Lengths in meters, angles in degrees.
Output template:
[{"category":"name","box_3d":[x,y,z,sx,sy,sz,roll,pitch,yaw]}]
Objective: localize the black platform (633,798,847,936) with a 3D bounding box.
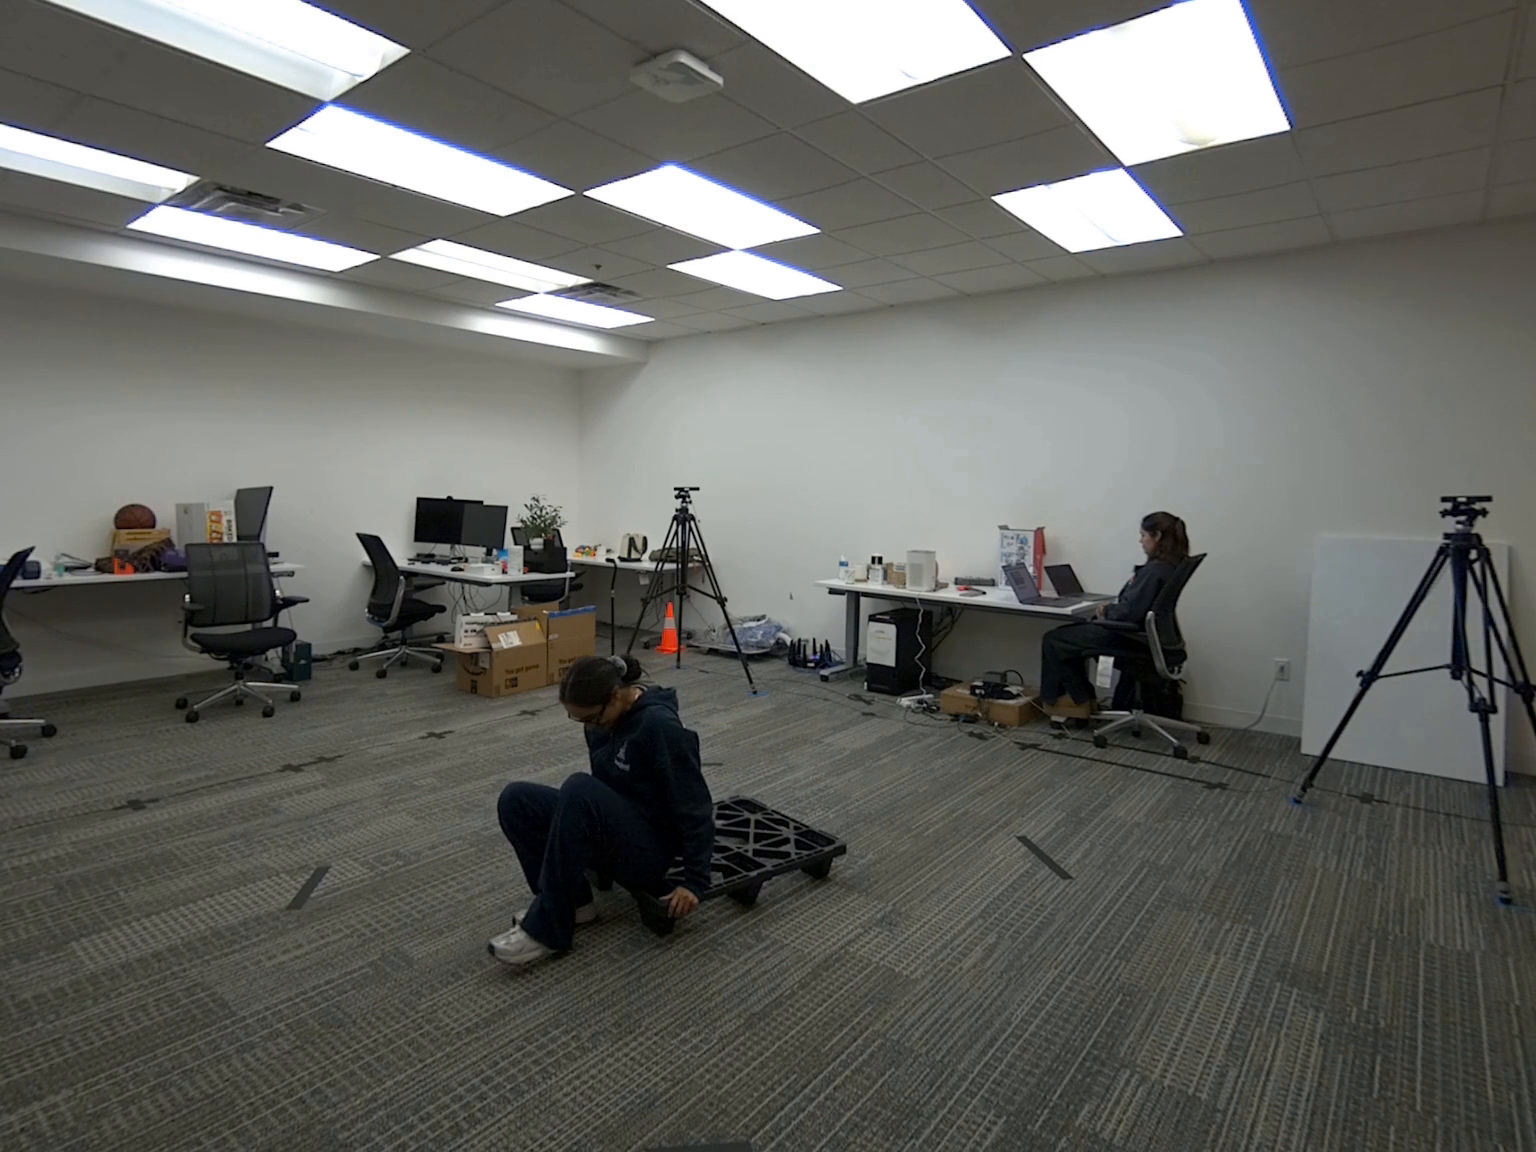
[{"category":"black platform","box_3d":[-0.214,1.009,3.032,0.782,0.142,0.626,-4,8,-38]}]
